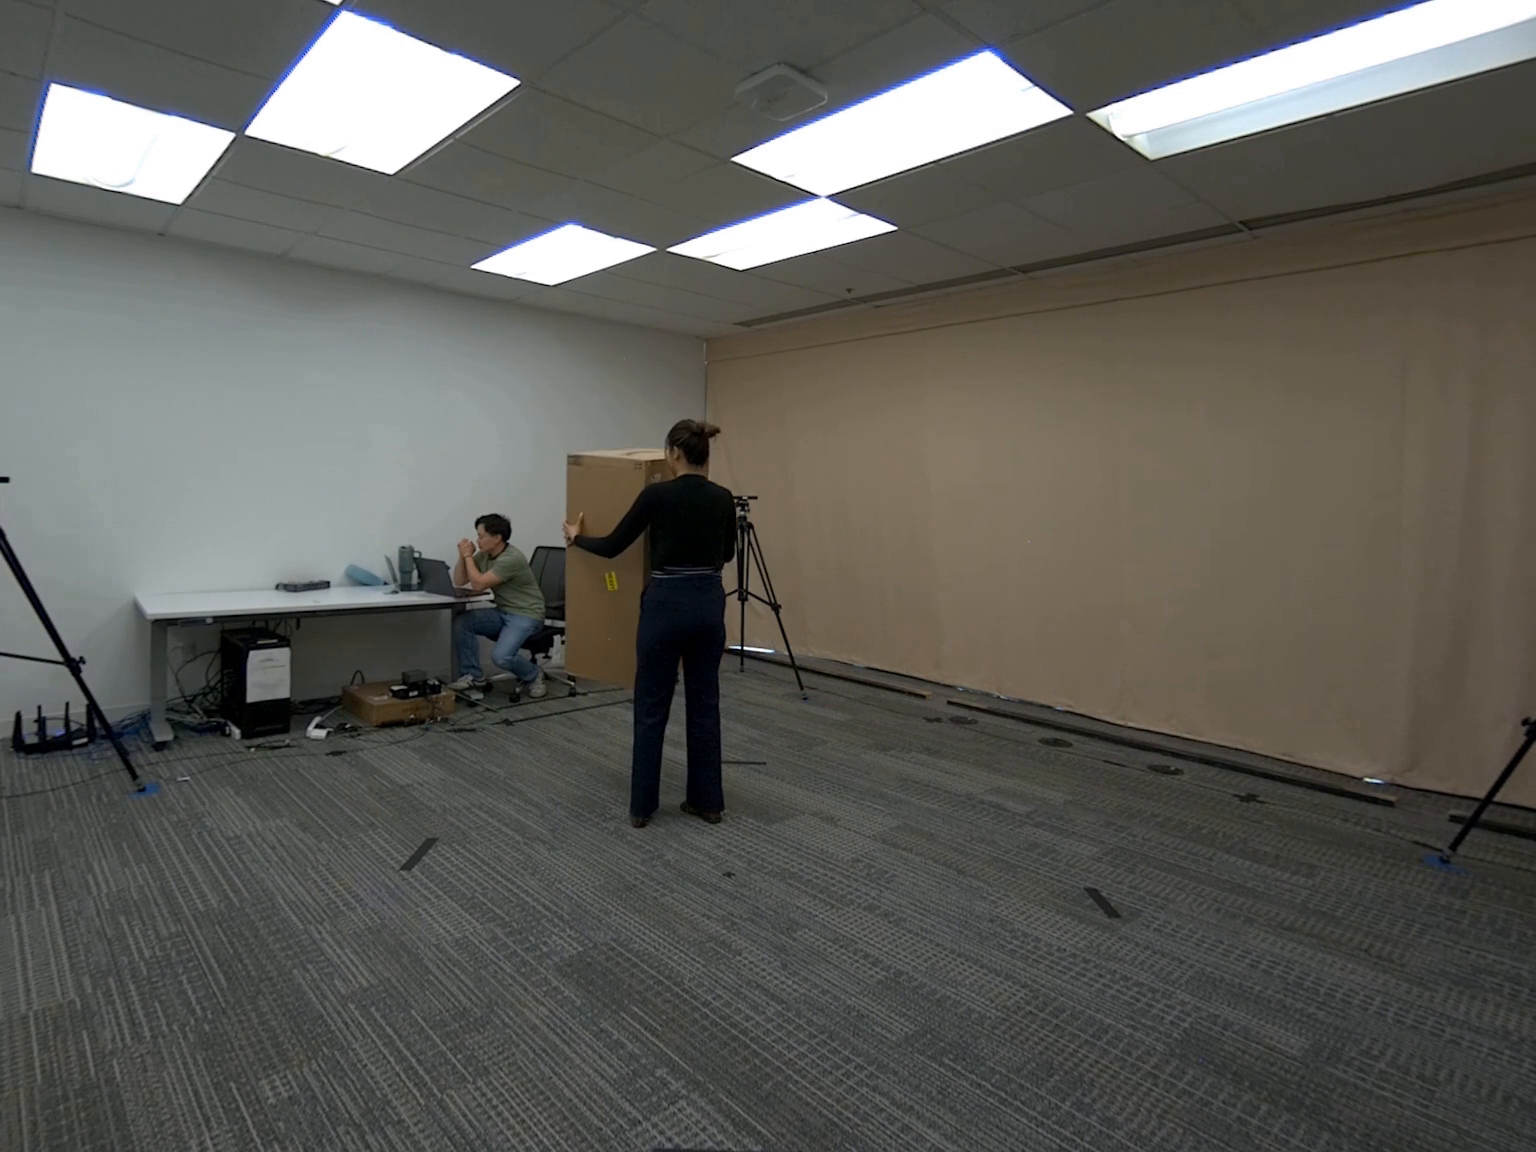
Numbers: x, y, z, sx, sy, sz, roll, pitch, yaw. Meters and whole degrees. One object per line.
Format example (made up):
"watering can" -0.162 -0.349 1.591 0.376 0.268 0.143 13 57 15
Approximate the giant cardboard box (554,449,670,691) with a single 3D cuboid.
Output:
"giant cardboard box" -0.616 -0.062 3.963 0.435 1.019 0.570 7 11 24
